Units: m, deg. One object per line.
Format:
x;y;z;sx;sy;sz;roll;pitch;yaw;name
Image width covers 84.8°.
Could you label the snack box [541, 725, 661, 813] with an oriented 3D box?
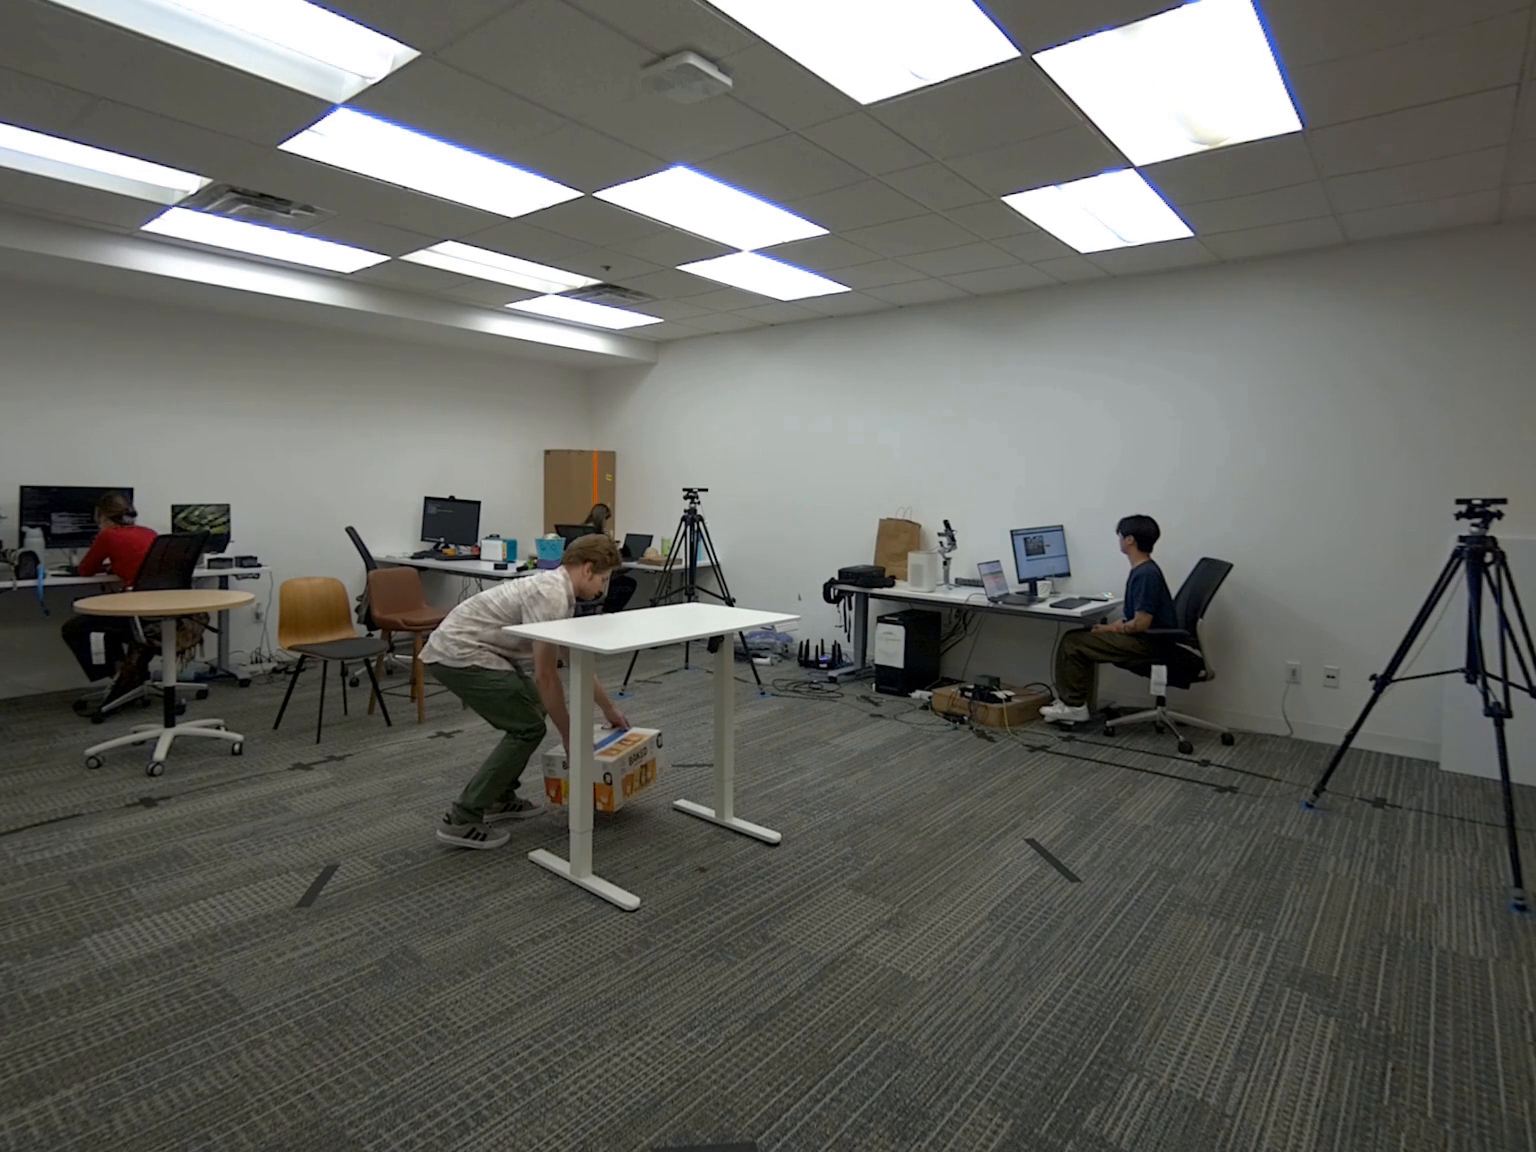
-0.704;0.795;3.591;0.349;0.204;0.398;0;8;25;snack box
